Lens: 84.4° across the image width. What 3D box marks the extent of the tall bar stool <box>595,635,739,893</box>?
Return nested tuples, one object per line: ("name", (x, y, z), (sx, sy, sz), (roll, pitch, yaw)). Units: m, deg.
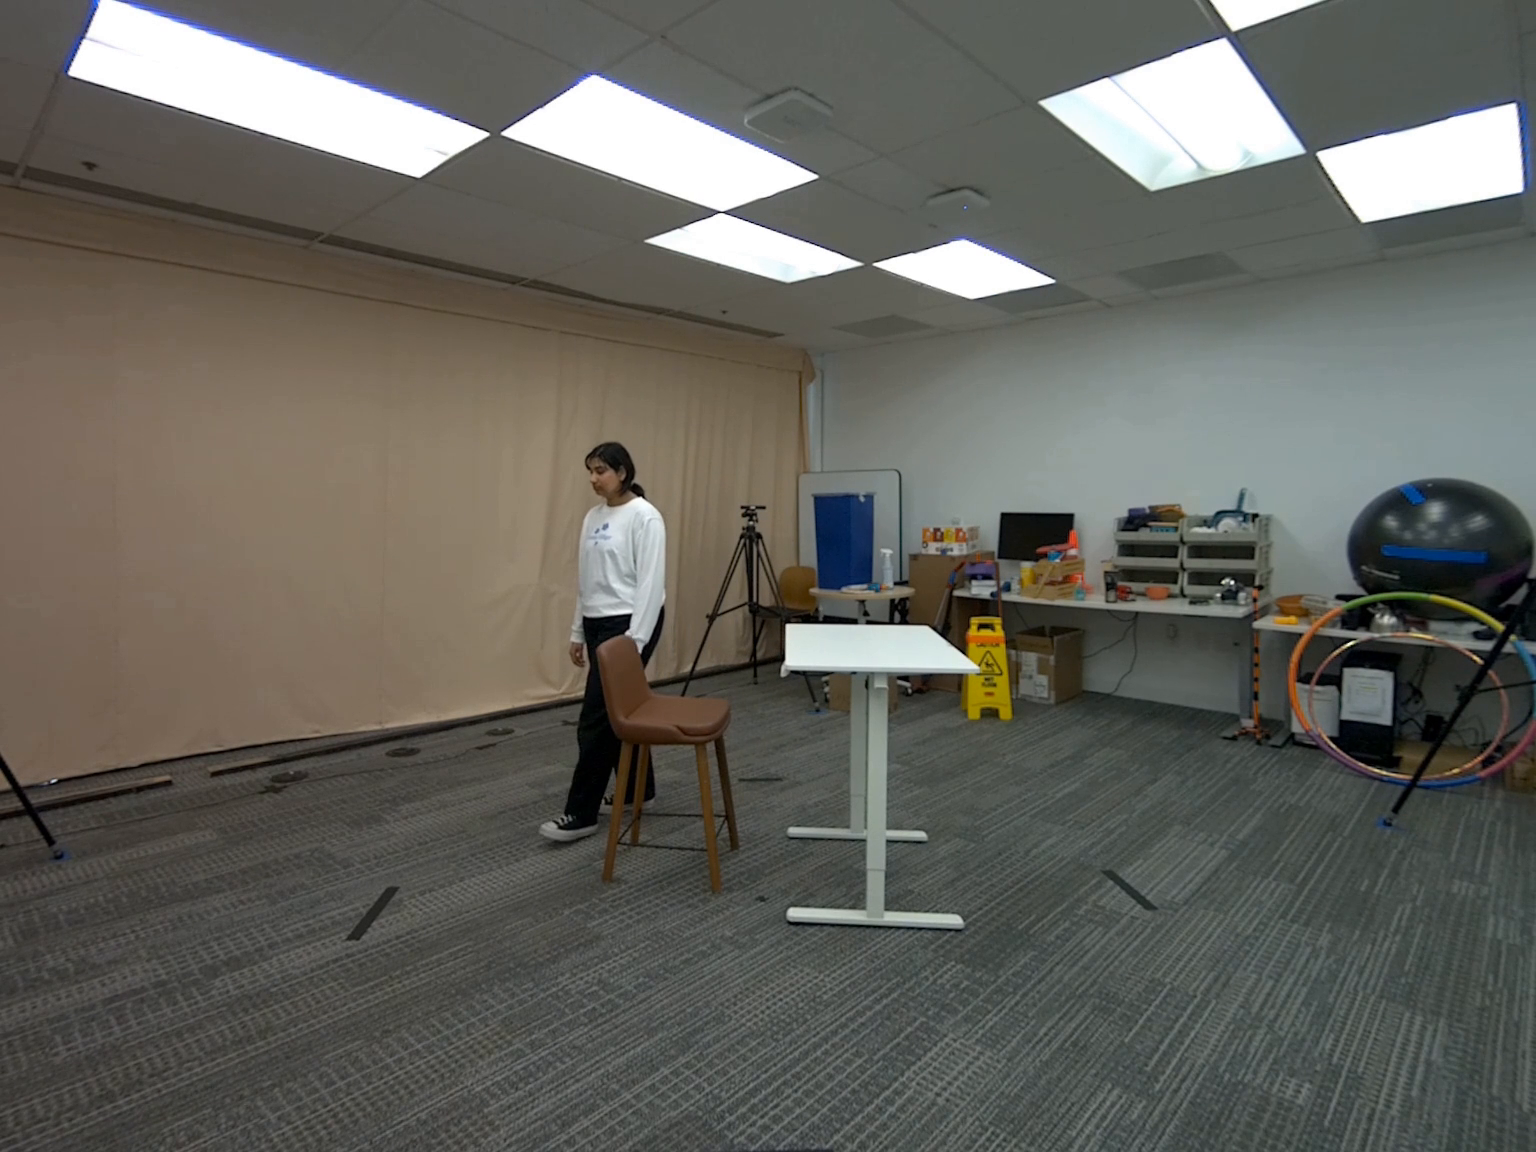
("tall bar stool", (-0.372, 0.692, 3.246), (0.473, 0.888, 0.451), (-2, 2, 11))
